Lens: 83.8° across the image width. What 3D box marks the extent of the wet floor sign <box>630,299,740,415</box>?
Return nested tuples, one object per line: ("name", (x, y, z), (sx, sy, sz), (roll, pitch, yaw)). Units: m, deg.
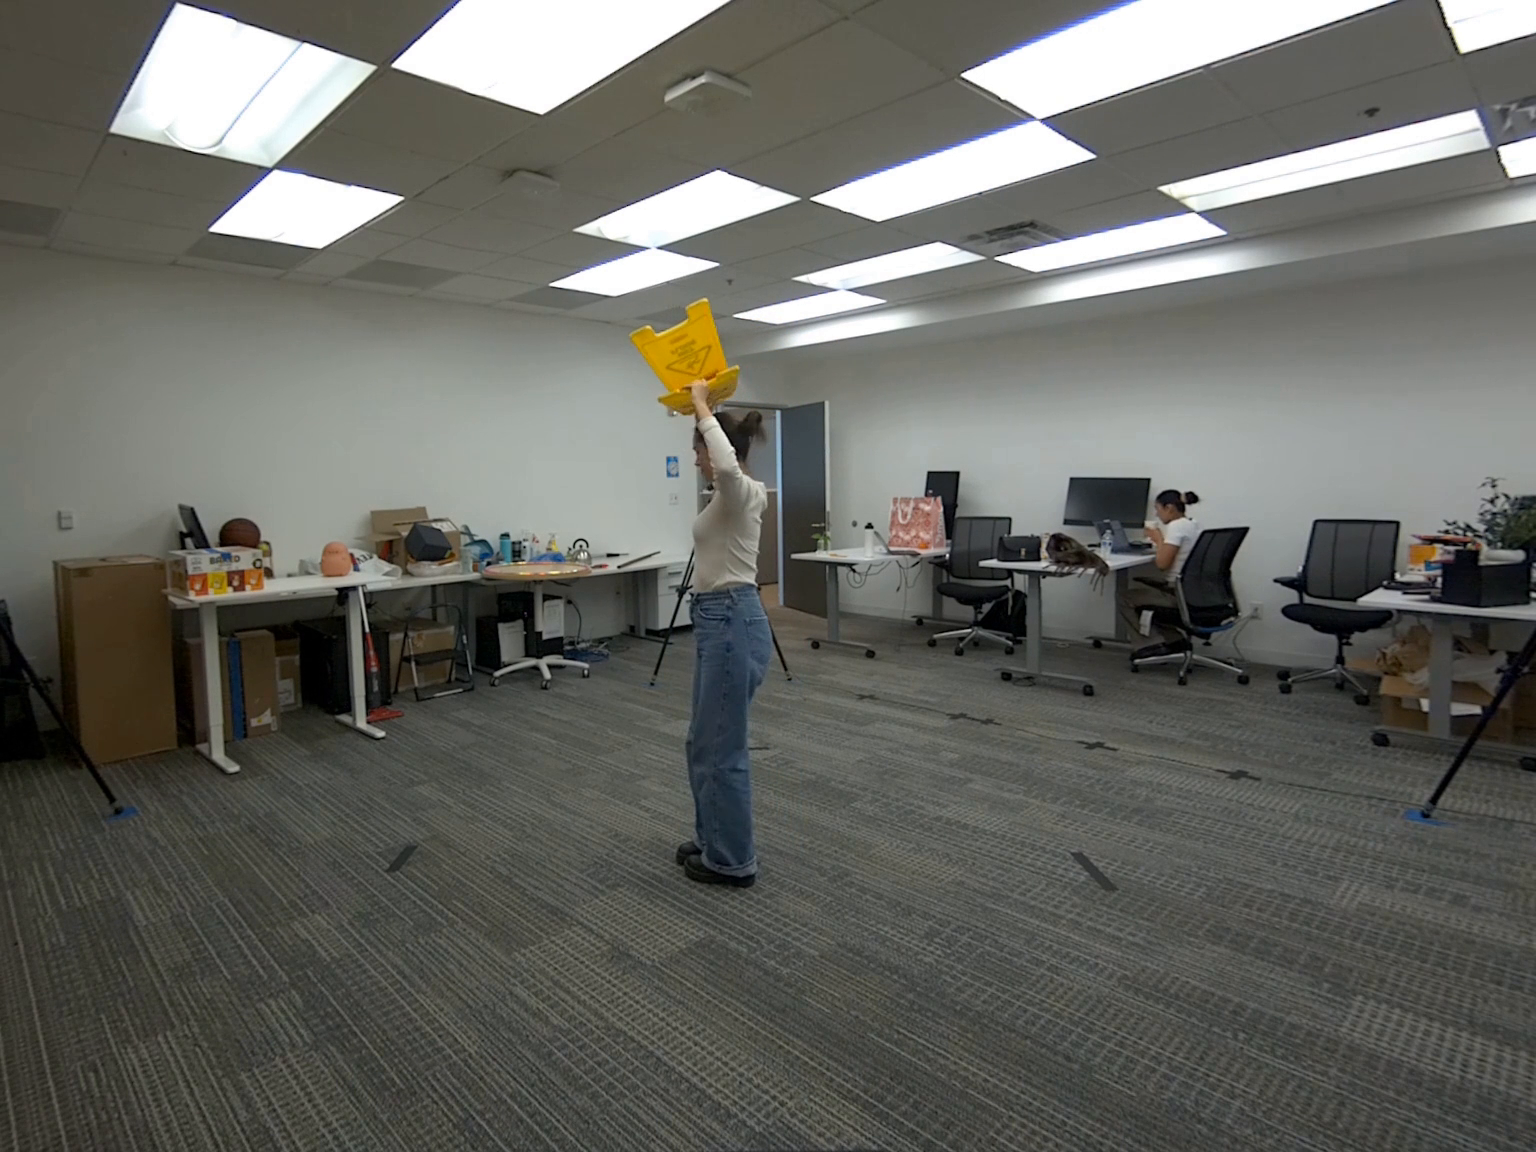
("wet floor sign", (-0.248, -0.698, 3.041), (0.282, 0.292, 0.640), (-25, -4, 2))
